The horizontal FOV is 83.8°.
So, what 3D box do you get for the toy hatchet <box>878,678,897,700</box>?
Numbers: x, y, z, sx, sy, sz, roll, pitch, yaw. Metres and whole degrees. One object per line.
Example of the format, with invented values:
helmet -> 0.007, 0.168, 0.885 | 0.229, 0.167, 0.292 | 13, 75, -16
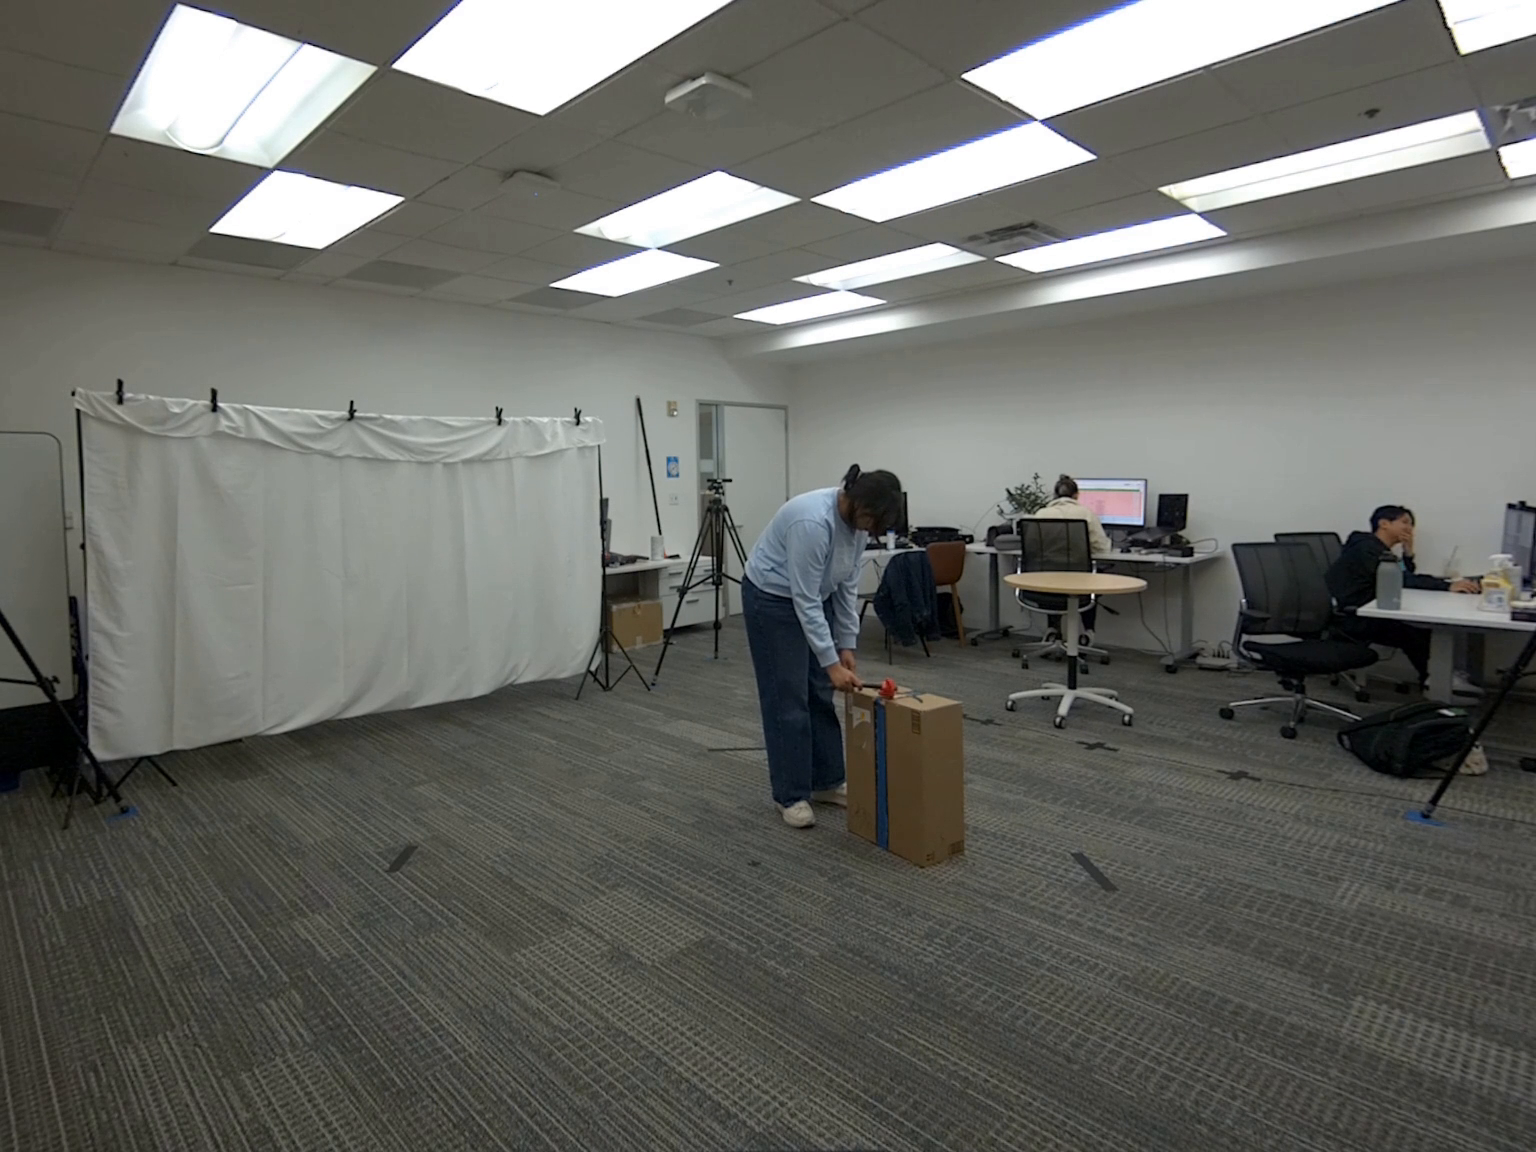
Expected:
toy hatchet -> 0.371, 0.435, 3.250 | 0.276, 0.030, 0.126 | -9, -38, 33
